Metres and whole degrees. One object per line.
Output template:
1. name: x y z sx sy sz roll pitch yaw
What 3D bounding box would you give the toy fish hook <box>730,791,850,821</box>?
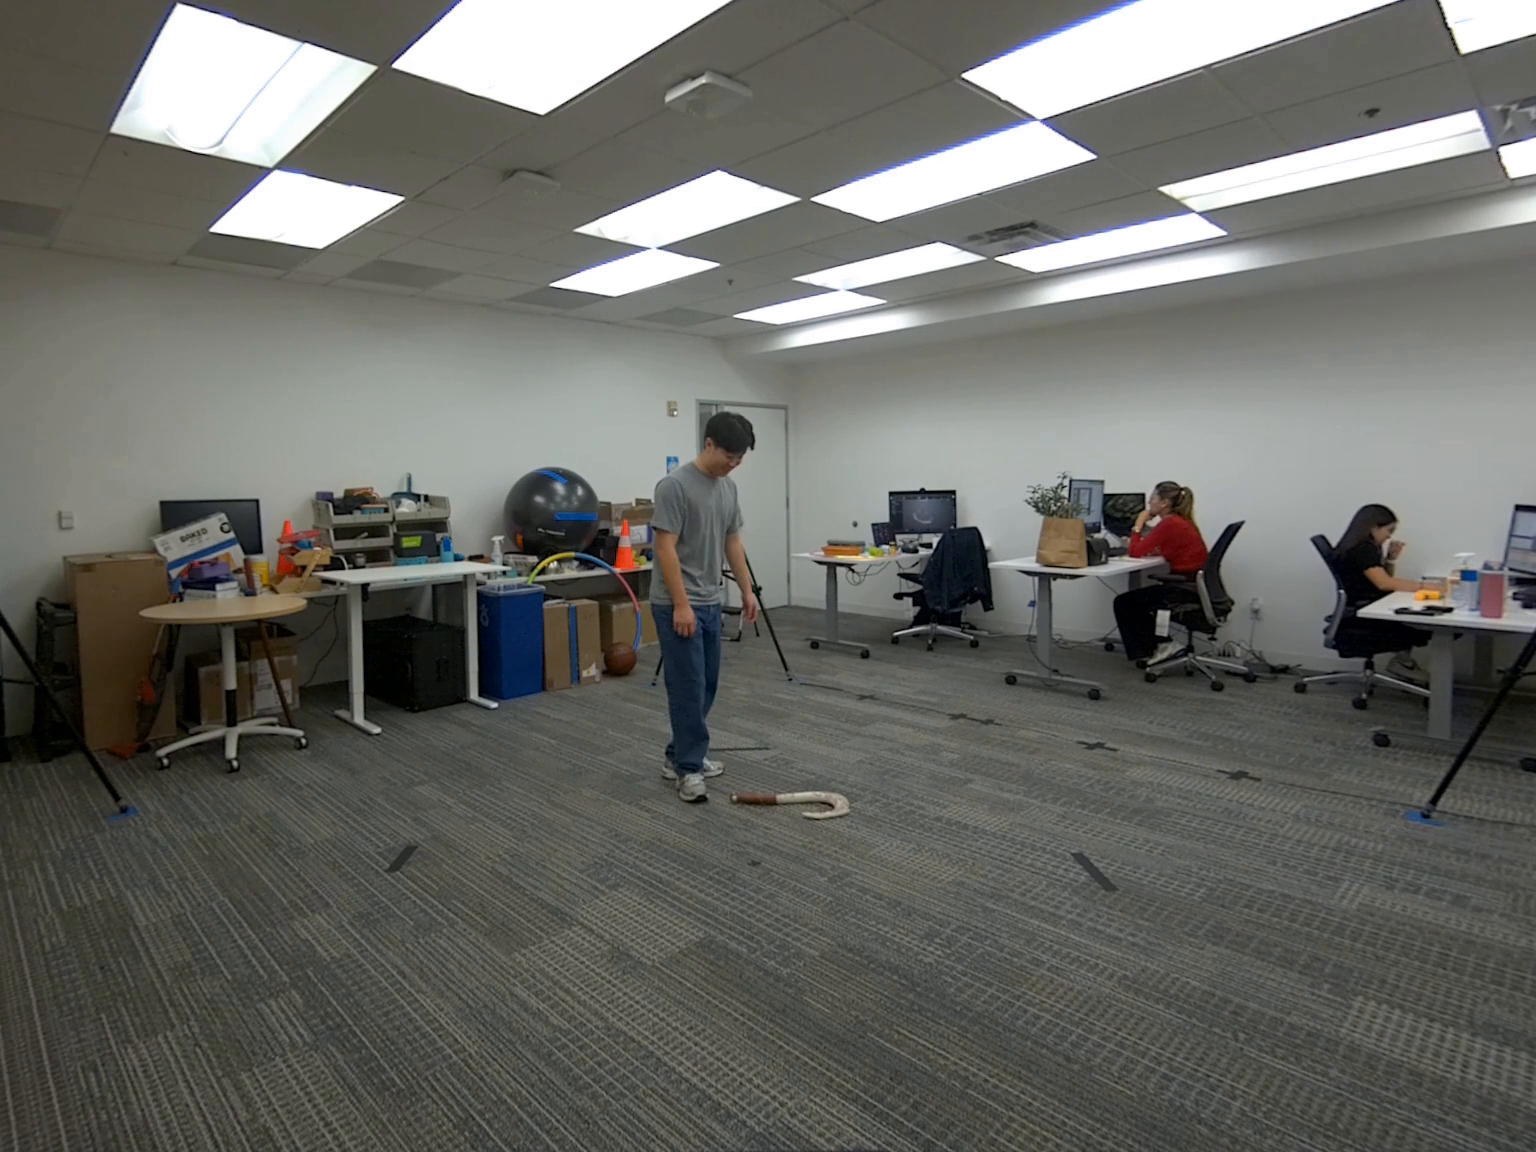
1. toy fish hook: 0.091 0.961 3.612 0.509 0.048 0.224 -1 5 5
